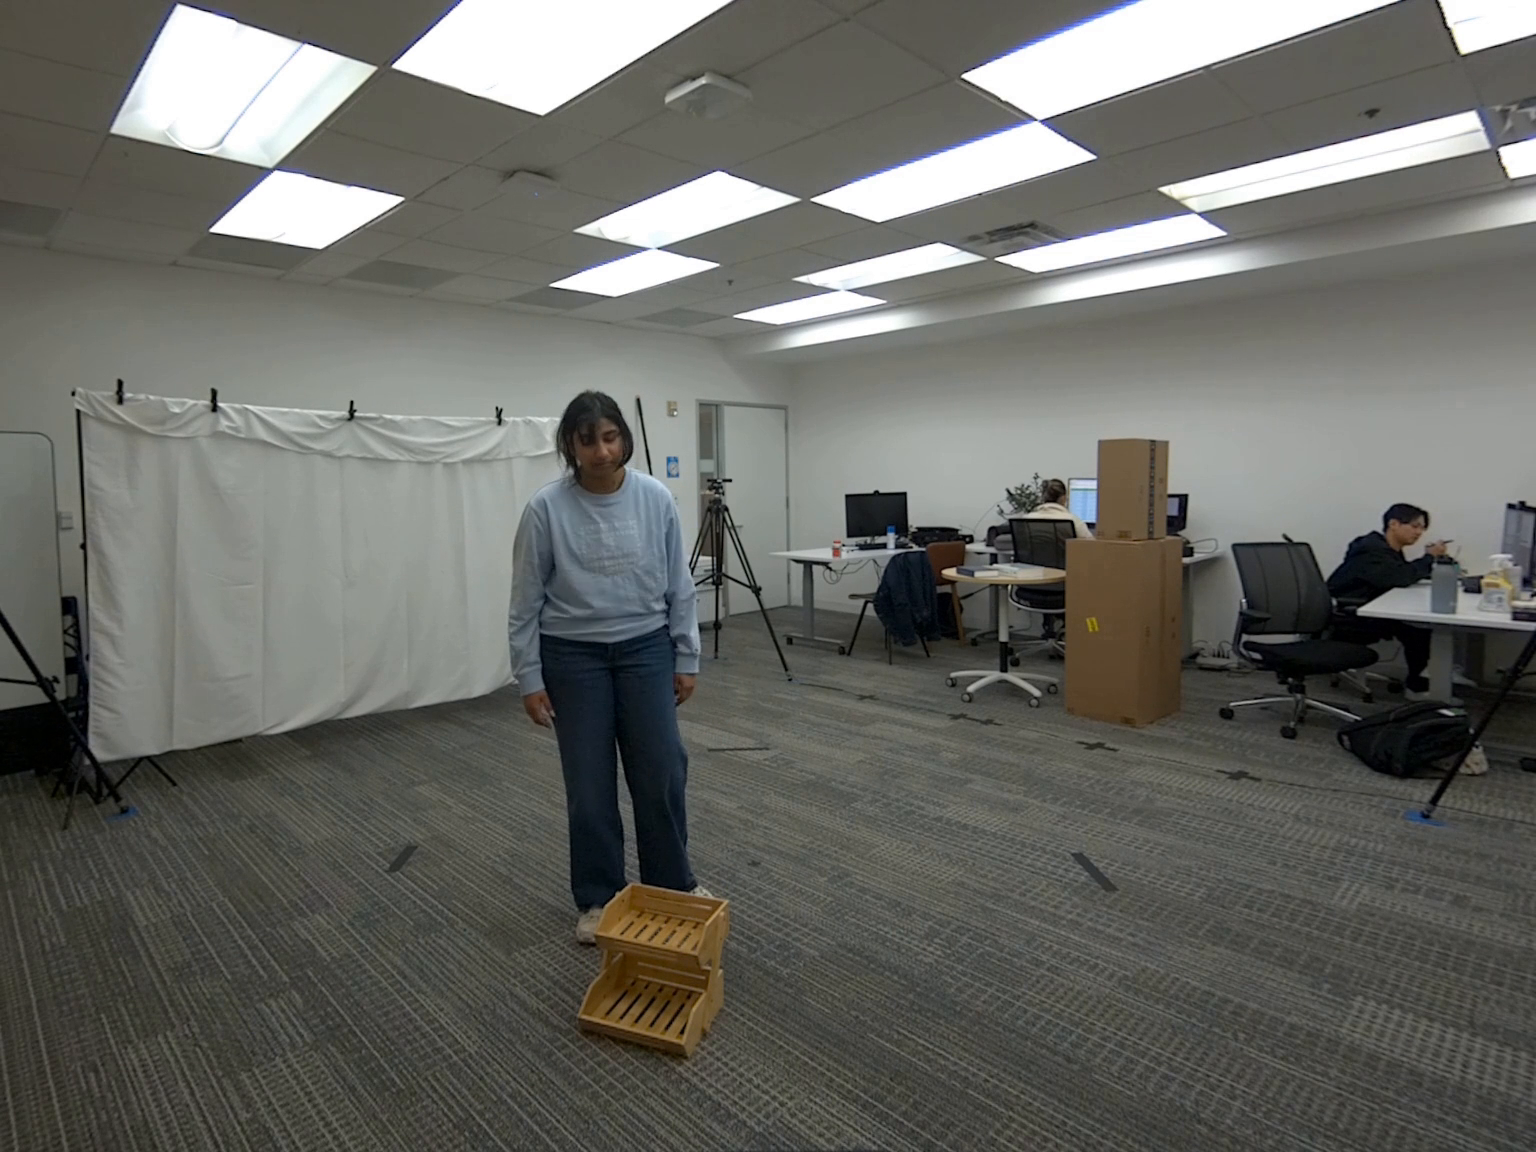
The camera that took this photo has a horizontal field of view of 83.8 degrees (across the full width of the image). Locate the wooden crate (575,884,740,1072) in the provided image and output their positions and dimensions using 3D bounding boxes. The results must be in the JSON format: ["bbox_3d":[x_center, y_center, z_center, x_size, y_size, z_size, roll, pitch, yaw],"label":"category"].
[{"bbox_3d":[-0.280,1.025,2.231,0.330,0.272,0.297,0,4,19],"label":"wooden crate"}]
